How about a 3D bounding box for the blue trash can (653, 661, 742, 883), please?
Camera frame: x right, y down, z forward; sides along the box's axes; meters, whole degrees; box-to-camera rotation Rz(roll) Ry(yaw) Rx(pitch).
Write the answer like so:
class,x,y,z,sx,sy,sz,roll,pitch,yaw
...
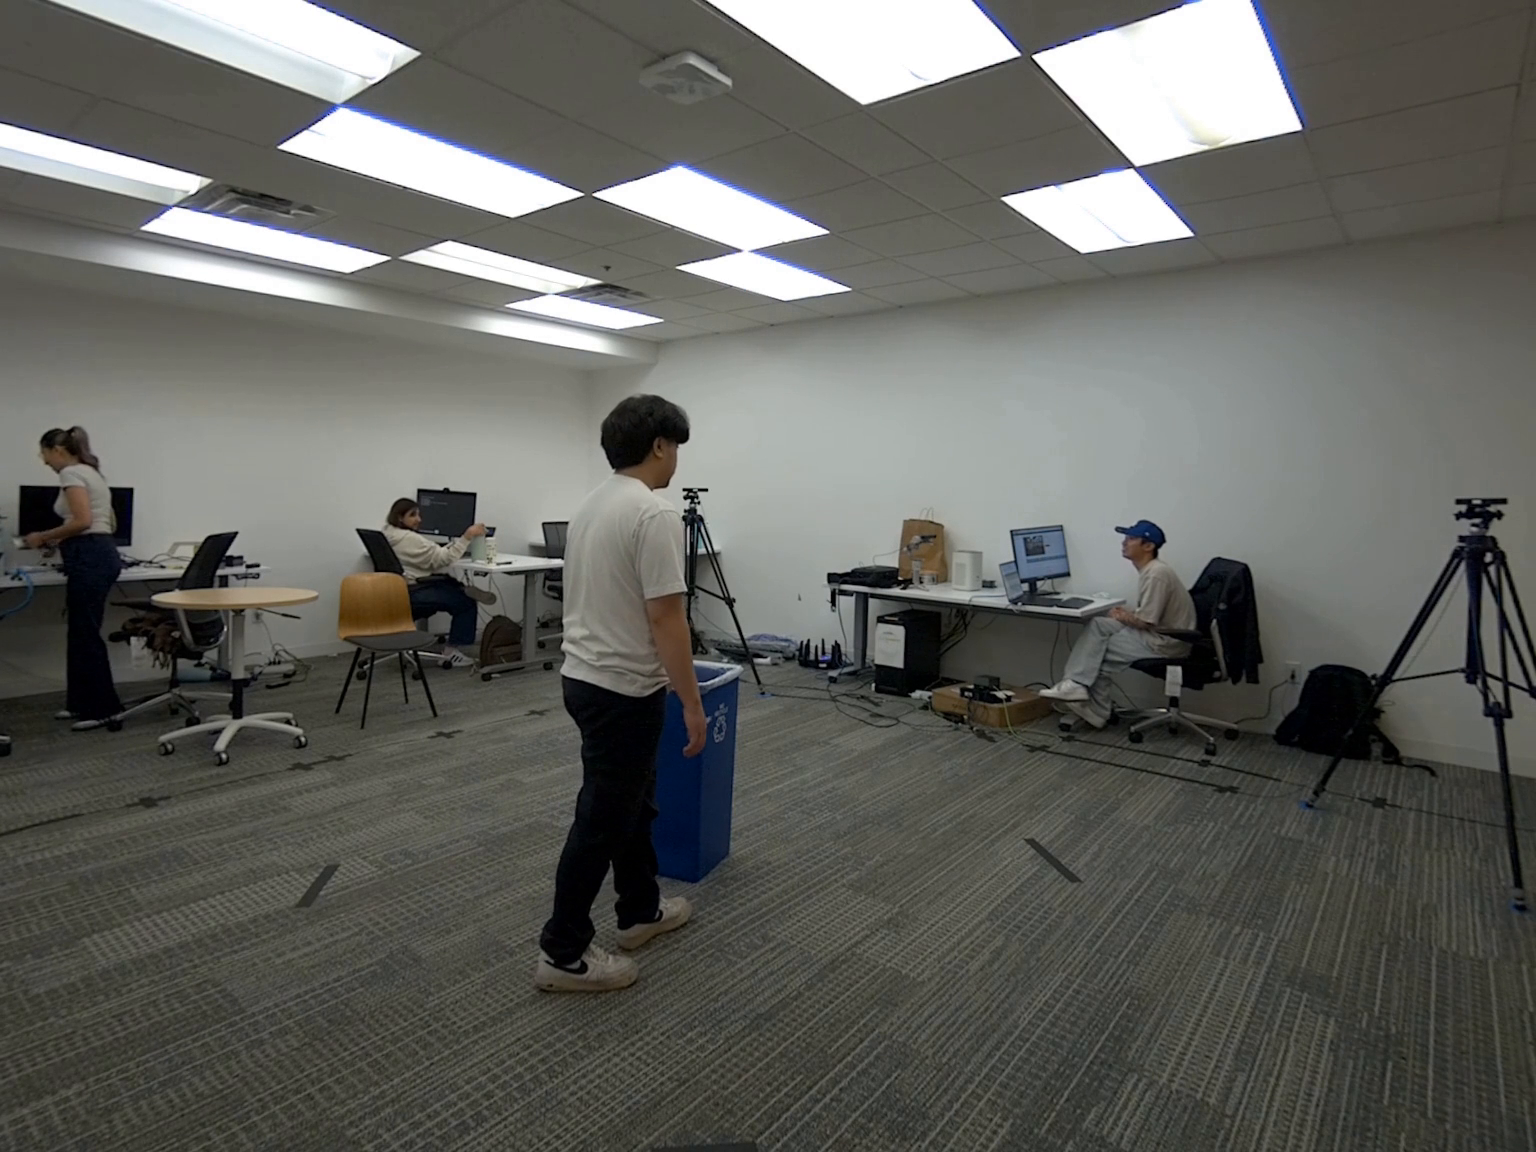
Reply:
class,x,y,z,sx,sy,sz,roll,pitch,yaw
blue trash can,-0.336,0.701,3.180,0.387,0.711,0.366,3,3,22
